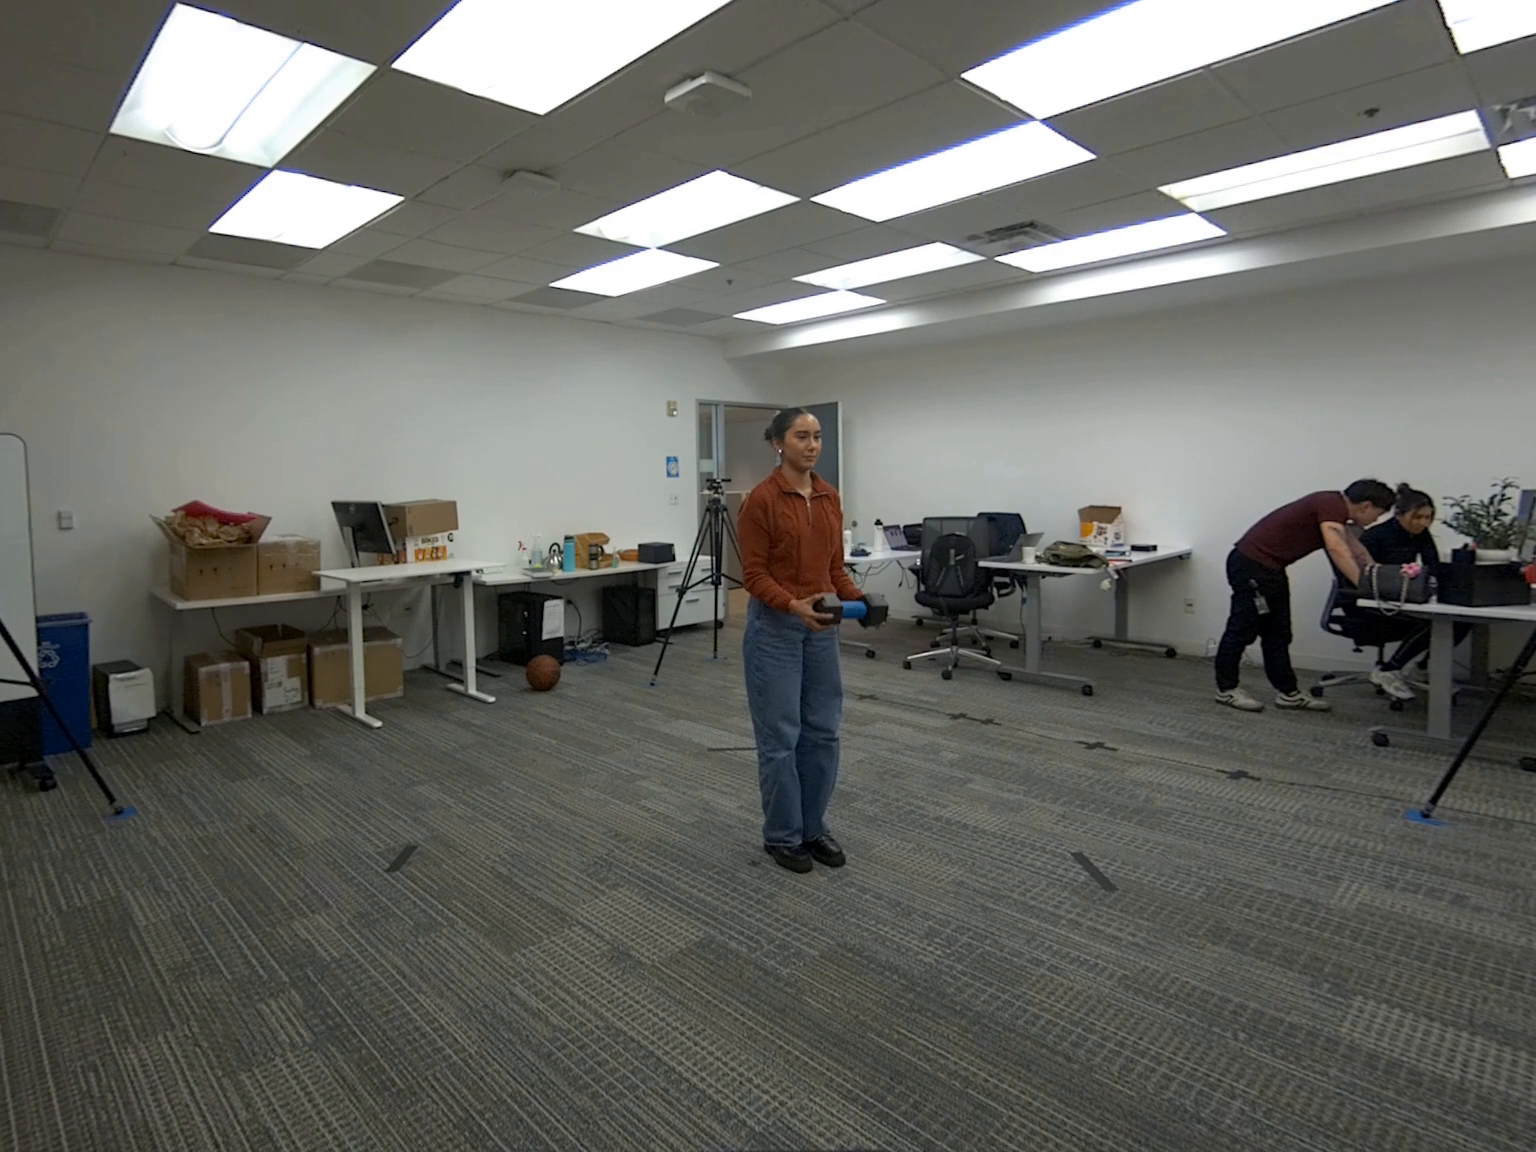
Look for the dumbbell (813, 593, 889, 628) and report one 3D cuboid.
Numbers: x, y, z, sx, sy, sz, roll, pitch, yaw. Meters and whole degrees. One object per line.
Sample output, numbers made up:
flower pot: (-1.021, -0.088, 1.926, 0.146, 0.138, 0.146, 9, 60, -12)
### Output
dumbbell: (0.259, 0.111, 2.943, 0.286, 0.107, 0.127, 1, 42, -33)
